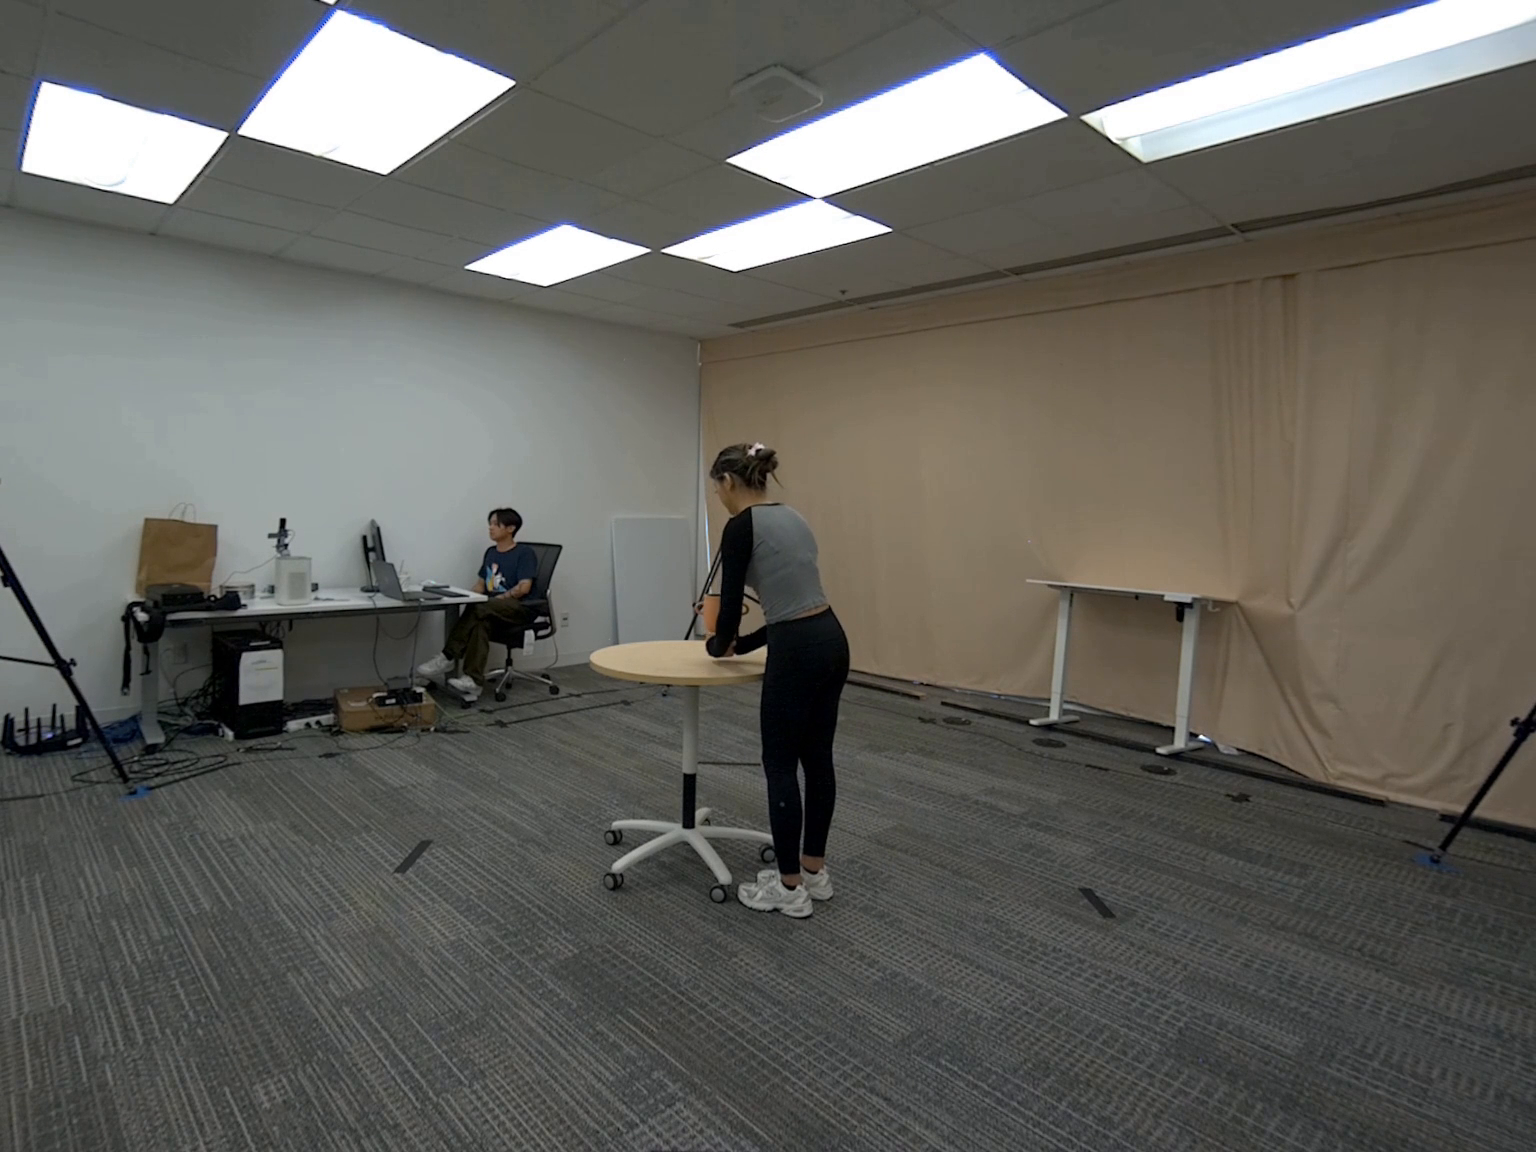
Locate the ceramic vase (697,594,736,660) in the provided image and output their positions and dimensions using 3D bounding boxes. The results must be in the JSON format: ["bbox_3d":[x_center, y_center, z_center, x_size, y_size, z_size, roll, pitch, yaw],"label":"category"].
[{"bbox_3d":[-0.168,0.176,3.077,0.162,0.219,0.132,3,3,31],"label":"ceramic vase"}]
